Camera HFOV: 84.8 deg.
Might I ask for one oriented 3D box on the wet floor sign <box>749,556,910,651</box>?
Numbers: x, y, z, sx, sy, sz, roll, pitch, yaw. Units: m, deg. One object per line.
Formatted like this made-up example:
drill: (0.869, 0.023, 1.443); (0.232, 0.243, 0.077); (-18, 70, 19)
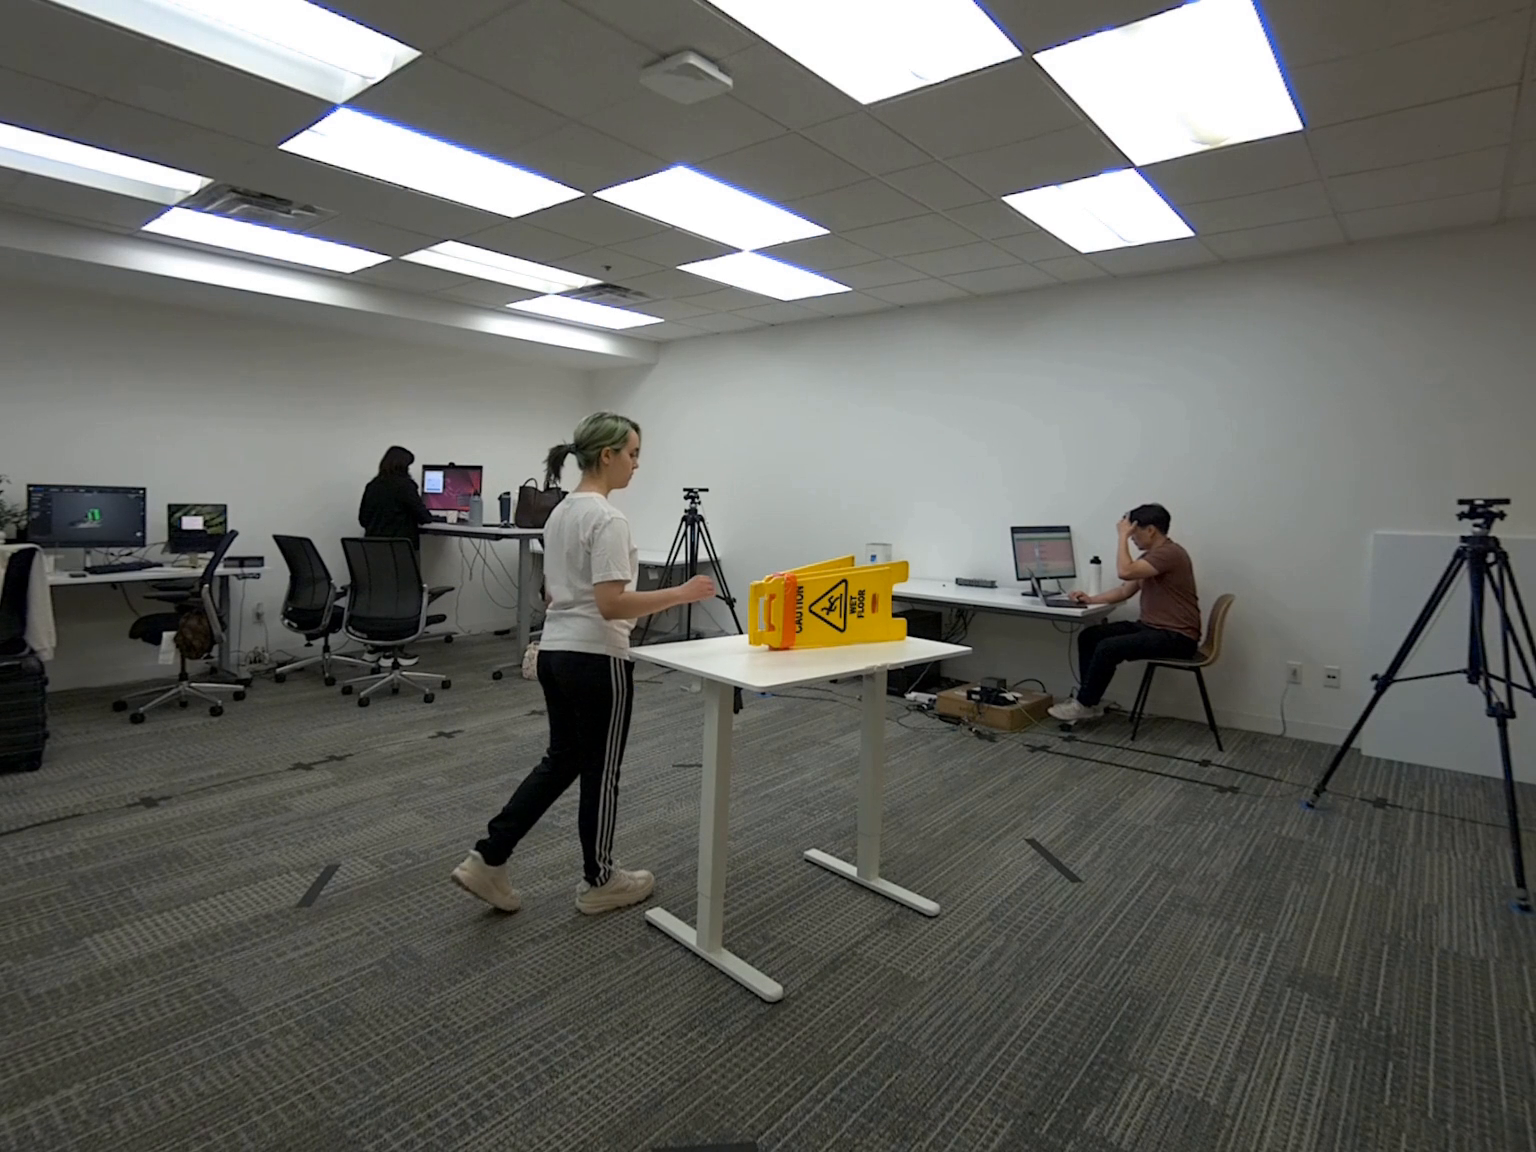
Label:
wet floor sign: (0.166, 0.098, 2.827); (0.627, 0.281, 0.300); (-6, 8, -44)
